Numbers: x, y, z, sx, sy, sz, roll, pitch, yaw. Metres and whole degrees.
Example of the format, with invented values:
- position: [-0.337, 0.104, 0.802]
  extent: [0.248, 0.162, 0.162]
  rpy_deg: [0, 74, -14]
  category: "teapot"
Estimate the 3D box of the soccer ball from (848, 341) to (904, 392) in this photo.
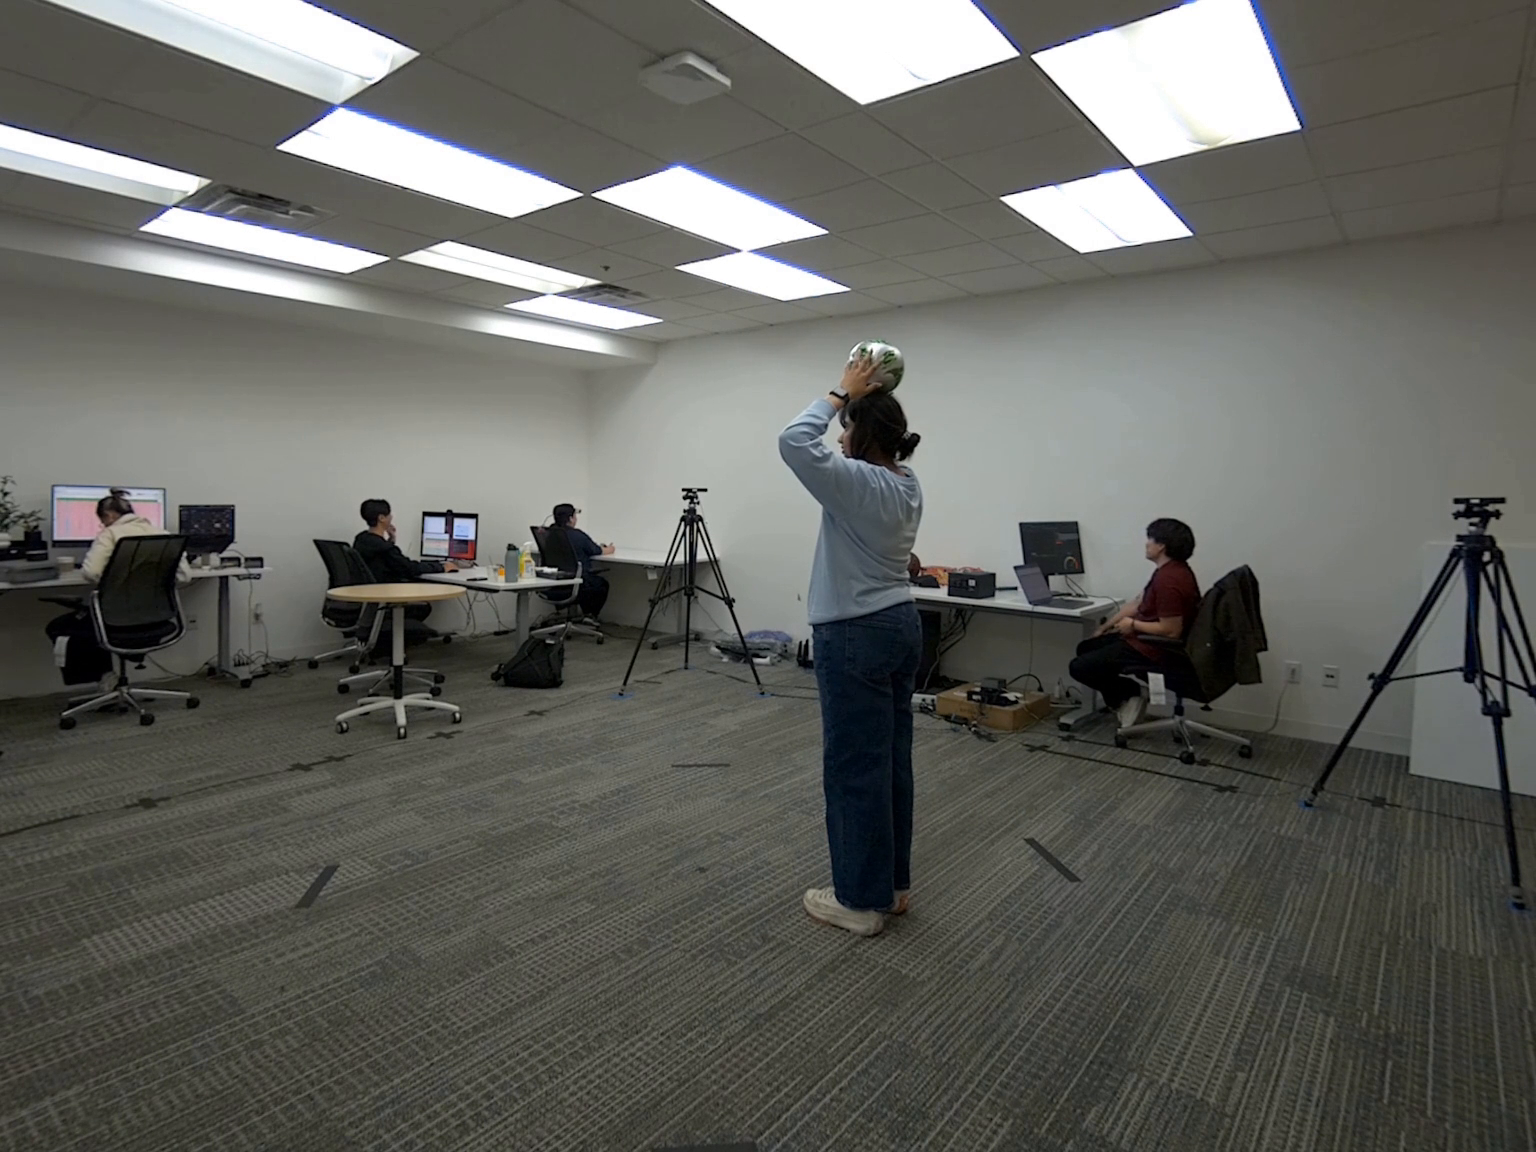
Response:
- position: [0.340, -0.675, 2.759]
  extent: [0.187, 0.187, 0.188]
  rpy_deg: [1, 4, -2]
  category: "soccer ball"
